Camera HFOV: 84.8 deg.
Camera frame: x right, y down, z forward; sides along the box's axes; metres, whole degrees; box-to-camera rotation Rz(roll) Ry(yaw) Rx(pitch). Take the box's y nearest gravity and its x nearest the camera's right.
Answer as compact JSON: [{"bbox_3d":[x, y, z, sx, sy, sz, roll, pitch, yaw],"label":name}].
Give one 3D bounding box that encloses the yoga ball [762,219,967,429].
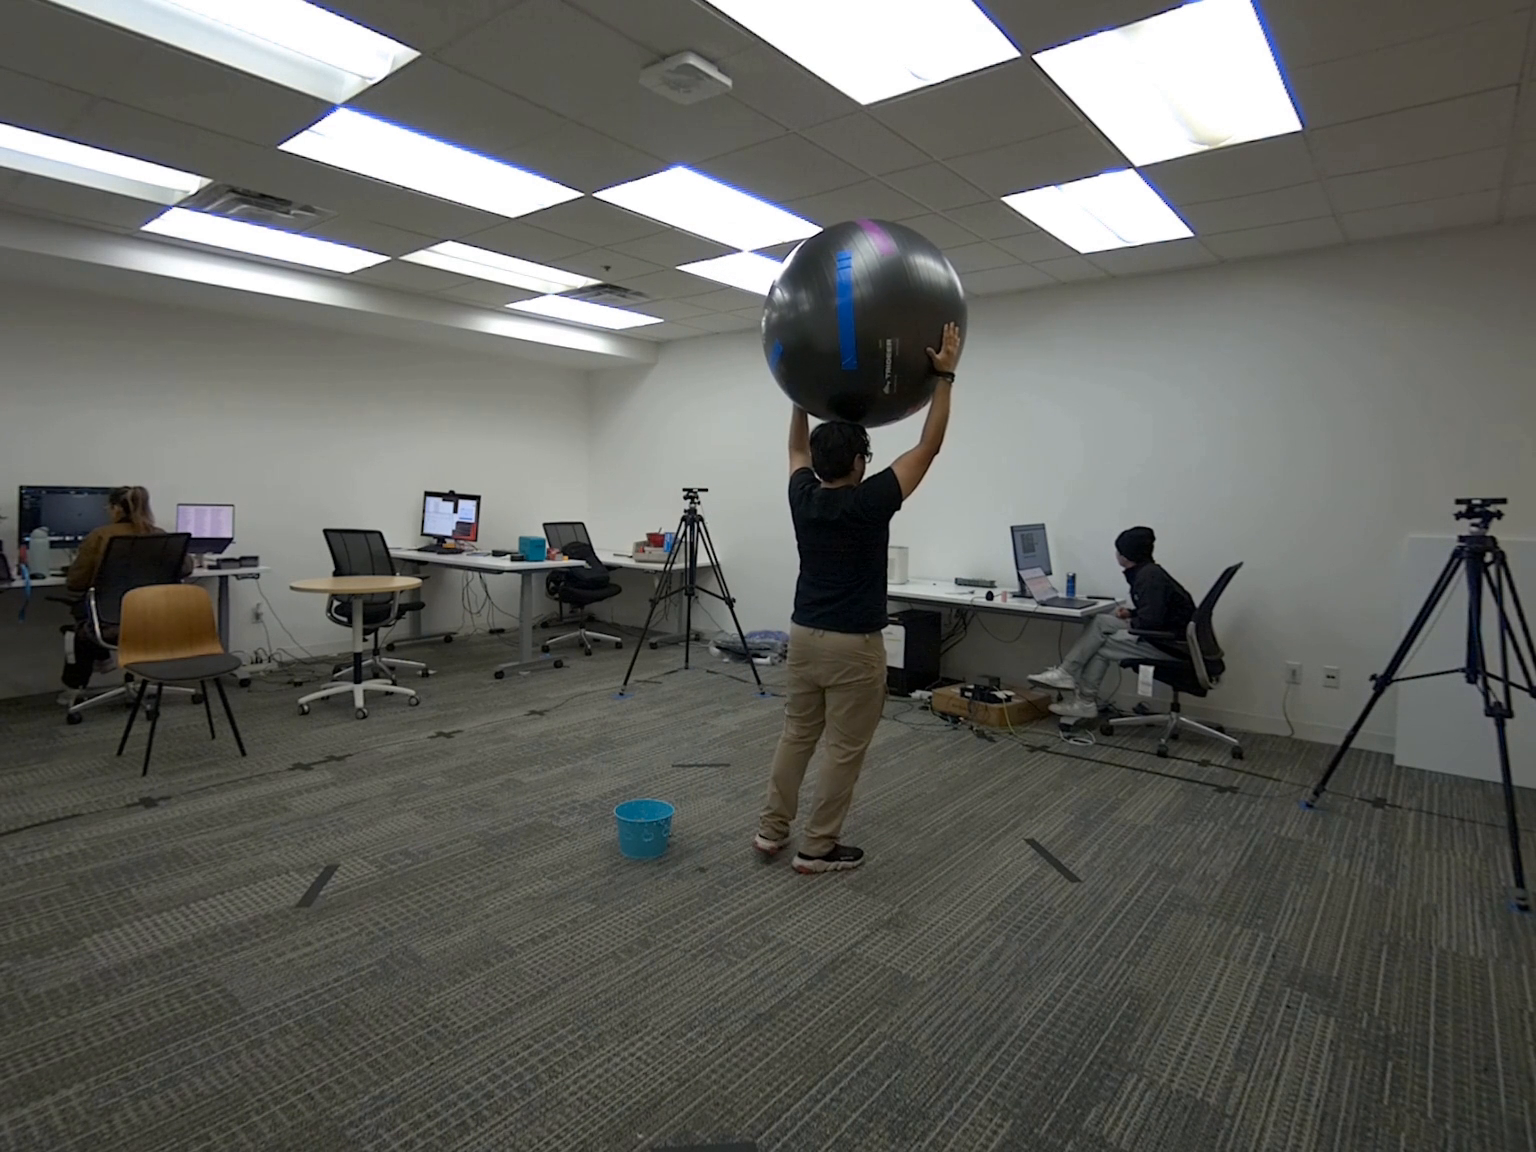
[{"bbox_3d":[0.345,-0.936,3.190,0.757,0.756,0.761,1,4,-2],"label":"yoga ball"}]
